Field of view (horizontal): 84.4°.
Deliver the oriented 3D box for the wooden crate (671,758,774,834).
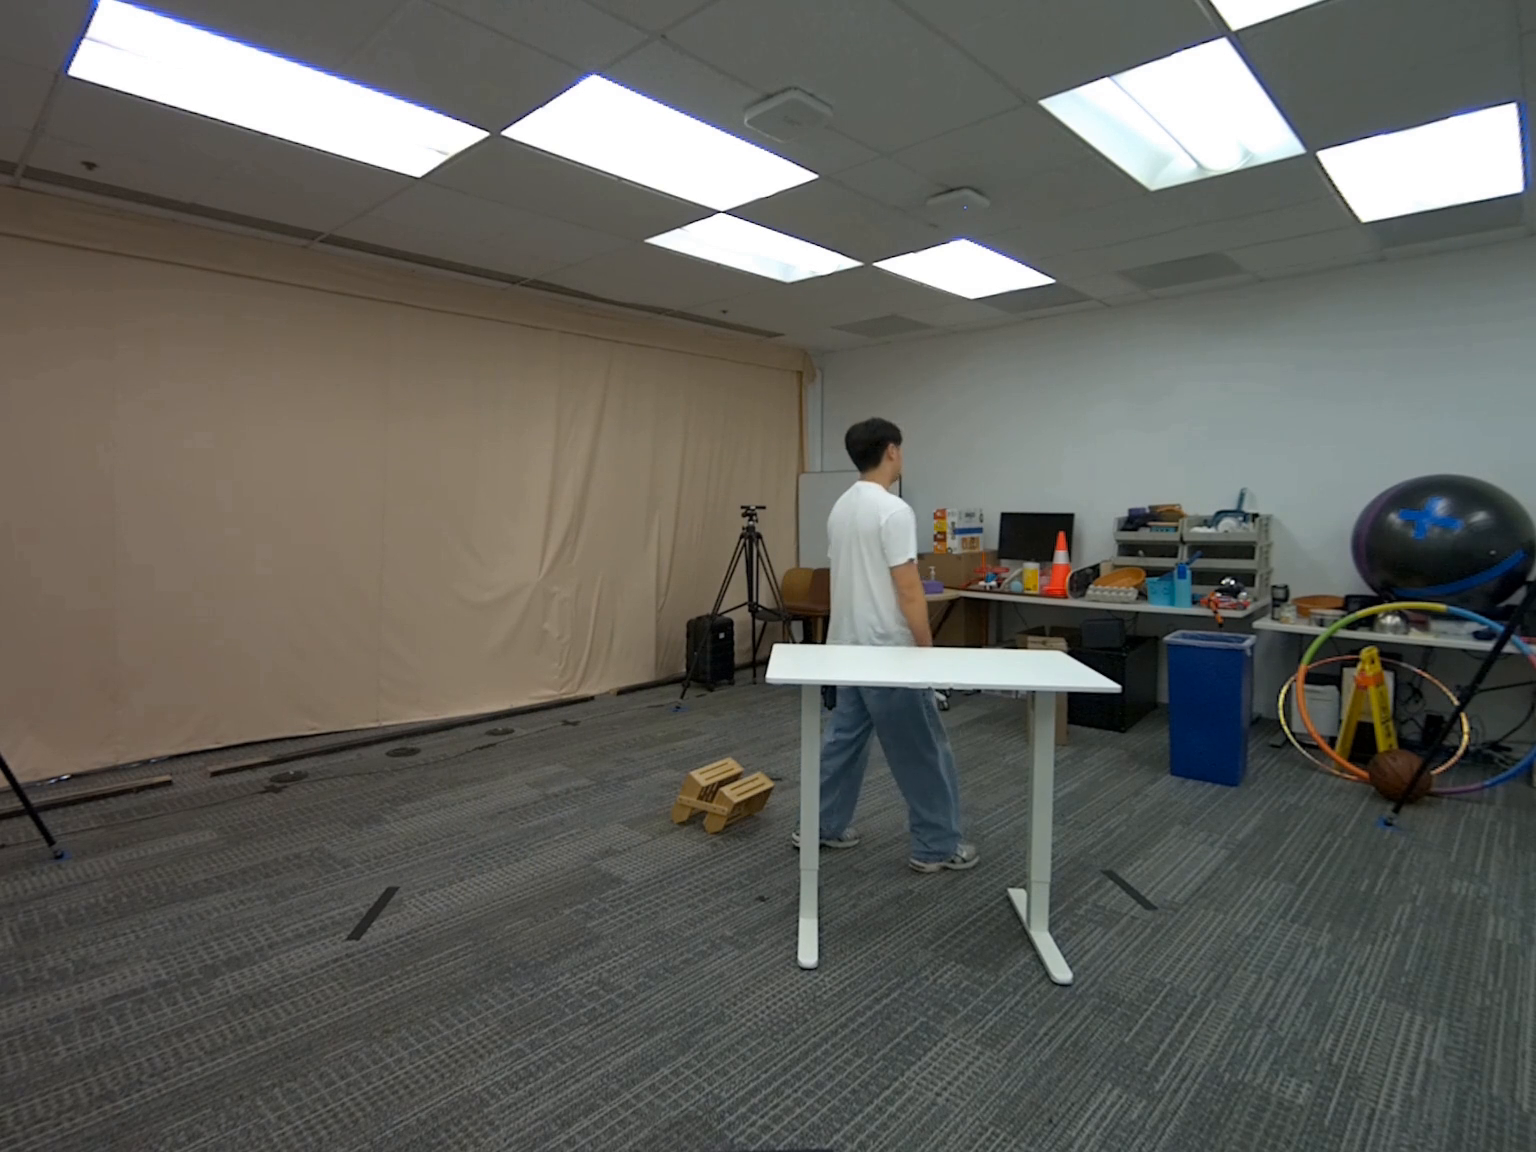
[{"bbox_3d":[-0.199,0.996,3.719,0.282,0.301,0.315,35,23,30],"label":"wooden crate"}]
